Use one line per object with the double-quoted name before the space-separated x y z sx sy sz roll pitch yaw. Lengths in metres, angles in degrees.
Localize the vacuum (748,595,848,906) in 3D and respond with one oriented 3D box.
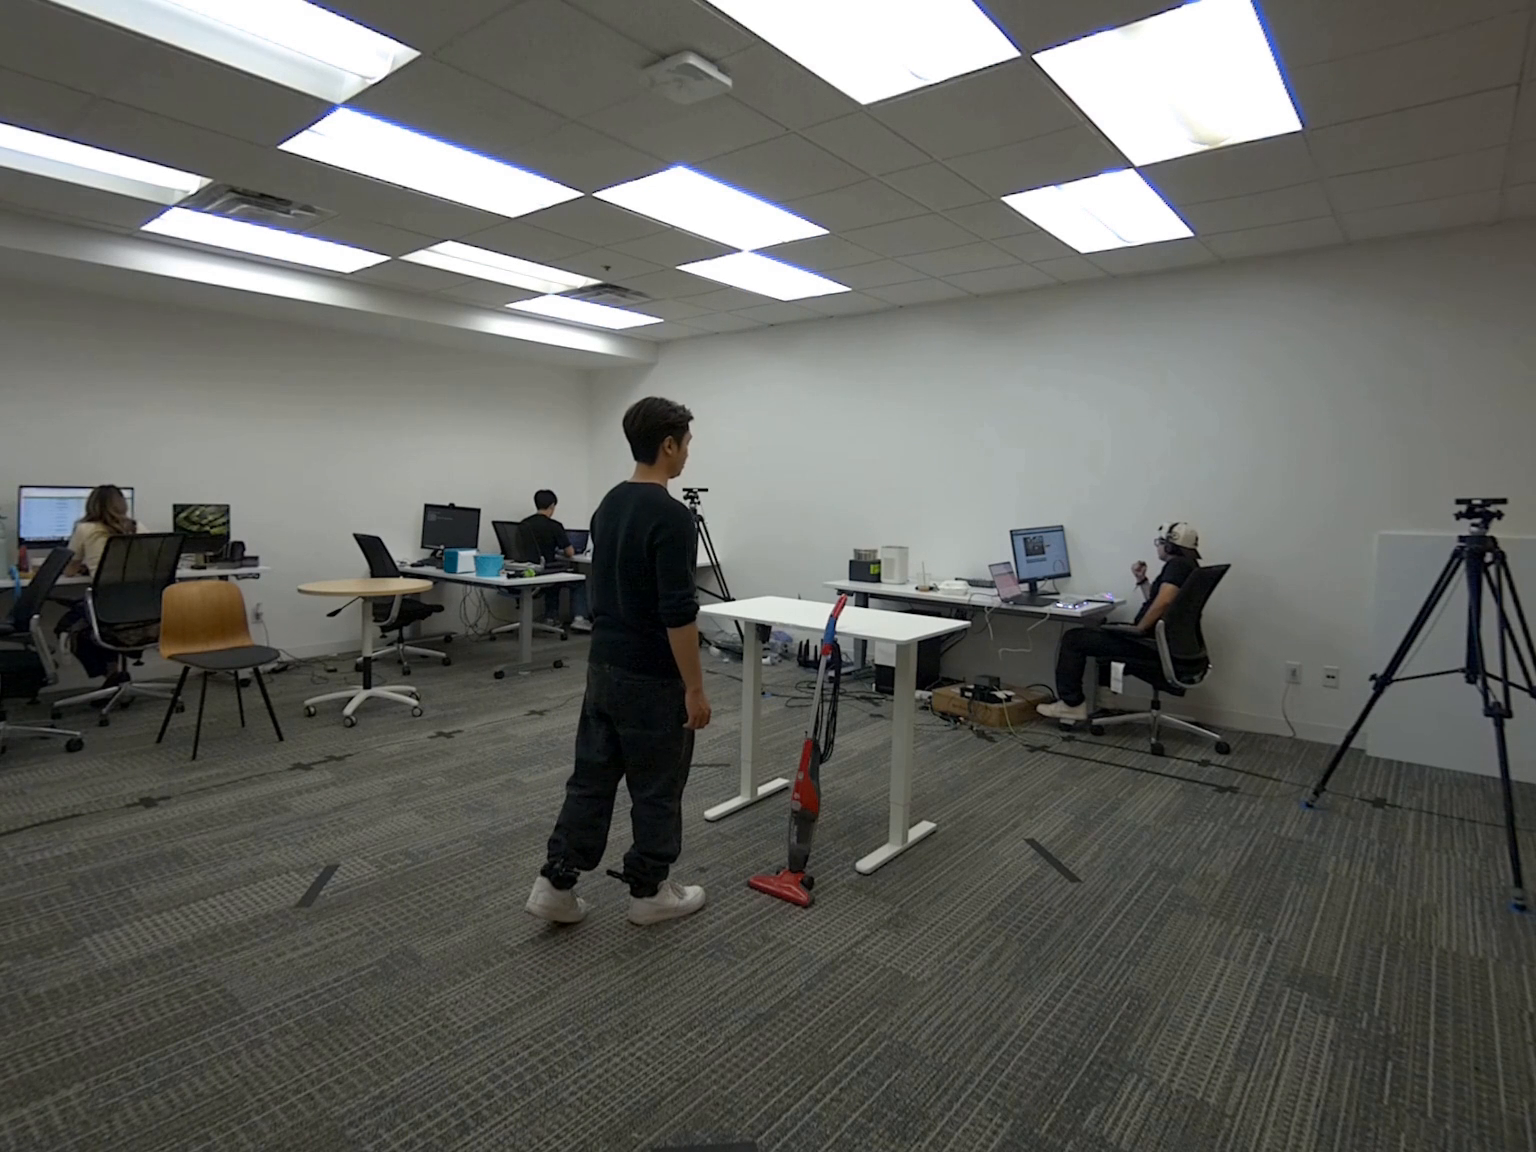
"vacuum" 0.172 0.584 3.067 0.261 1.058 0.138 5 -14 35
